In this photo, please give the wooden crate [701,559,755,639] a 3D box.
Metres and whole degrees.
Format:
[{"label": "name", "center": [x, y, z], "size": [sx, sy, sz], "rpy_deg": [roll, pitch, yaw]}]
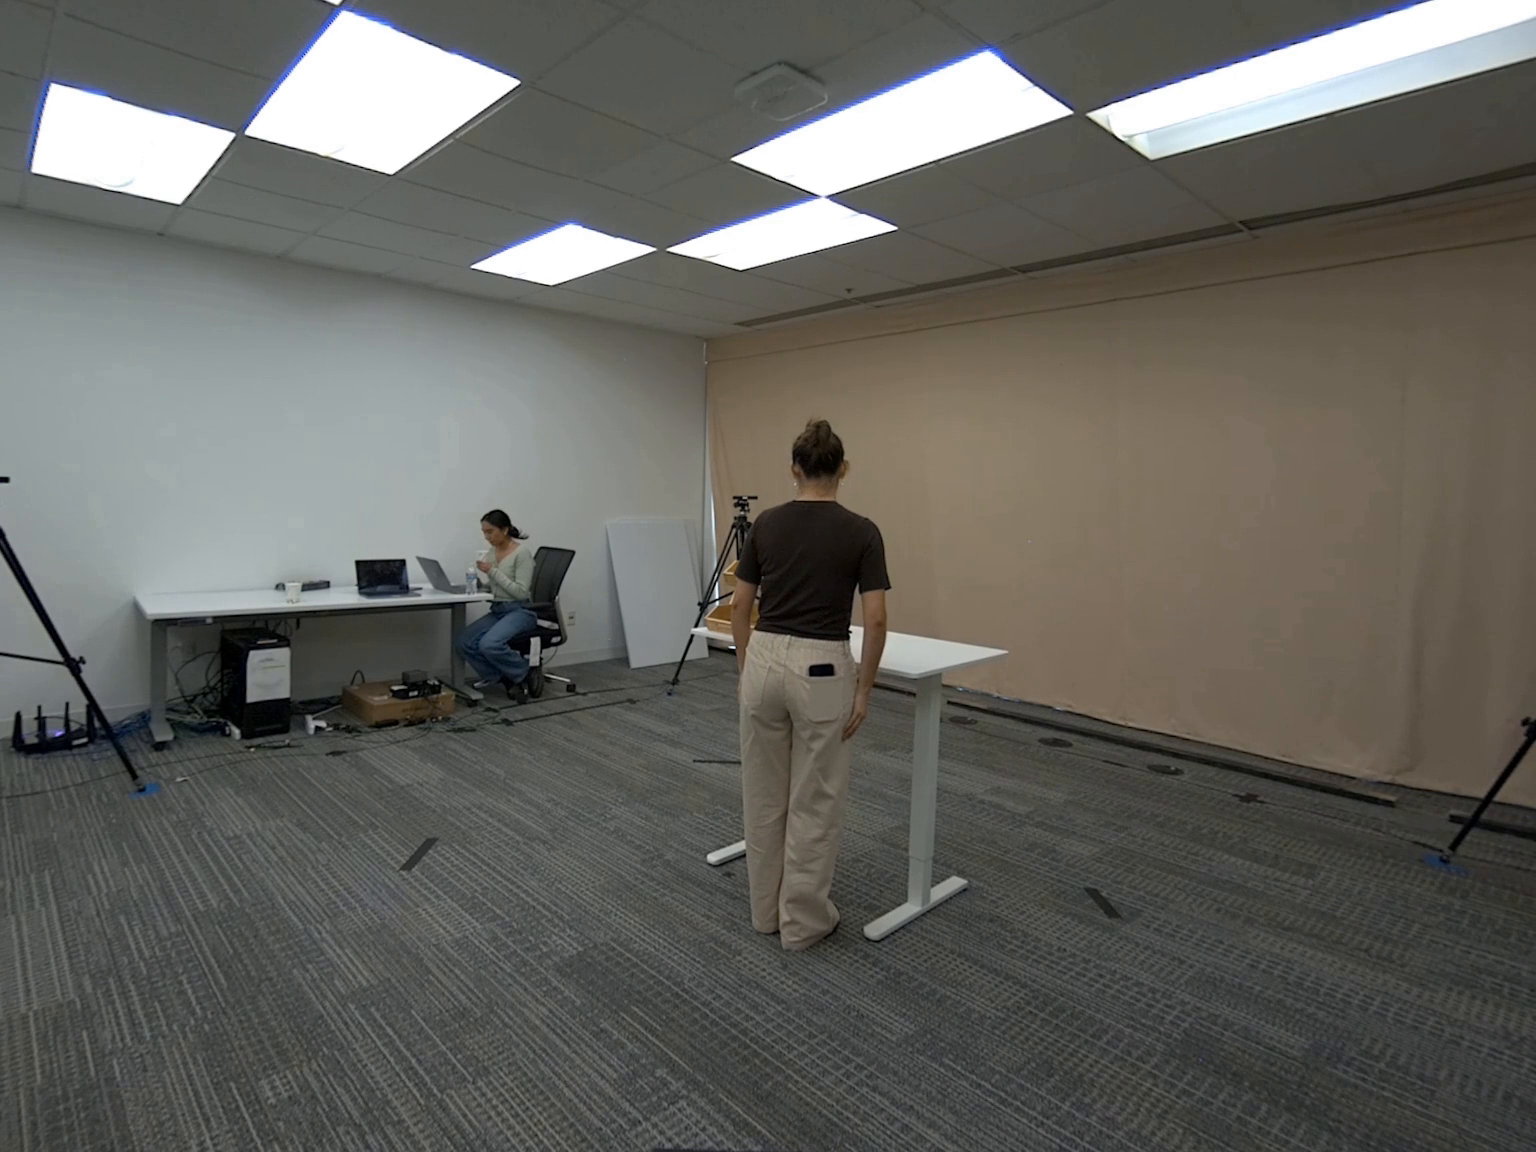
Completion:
[{"label": "wooden crate", "center": [-0.026, 0.085, 3.180], "size": [0.295, 0.273, 0.333], "rpy_deg": [-1, 5, -44]}]
